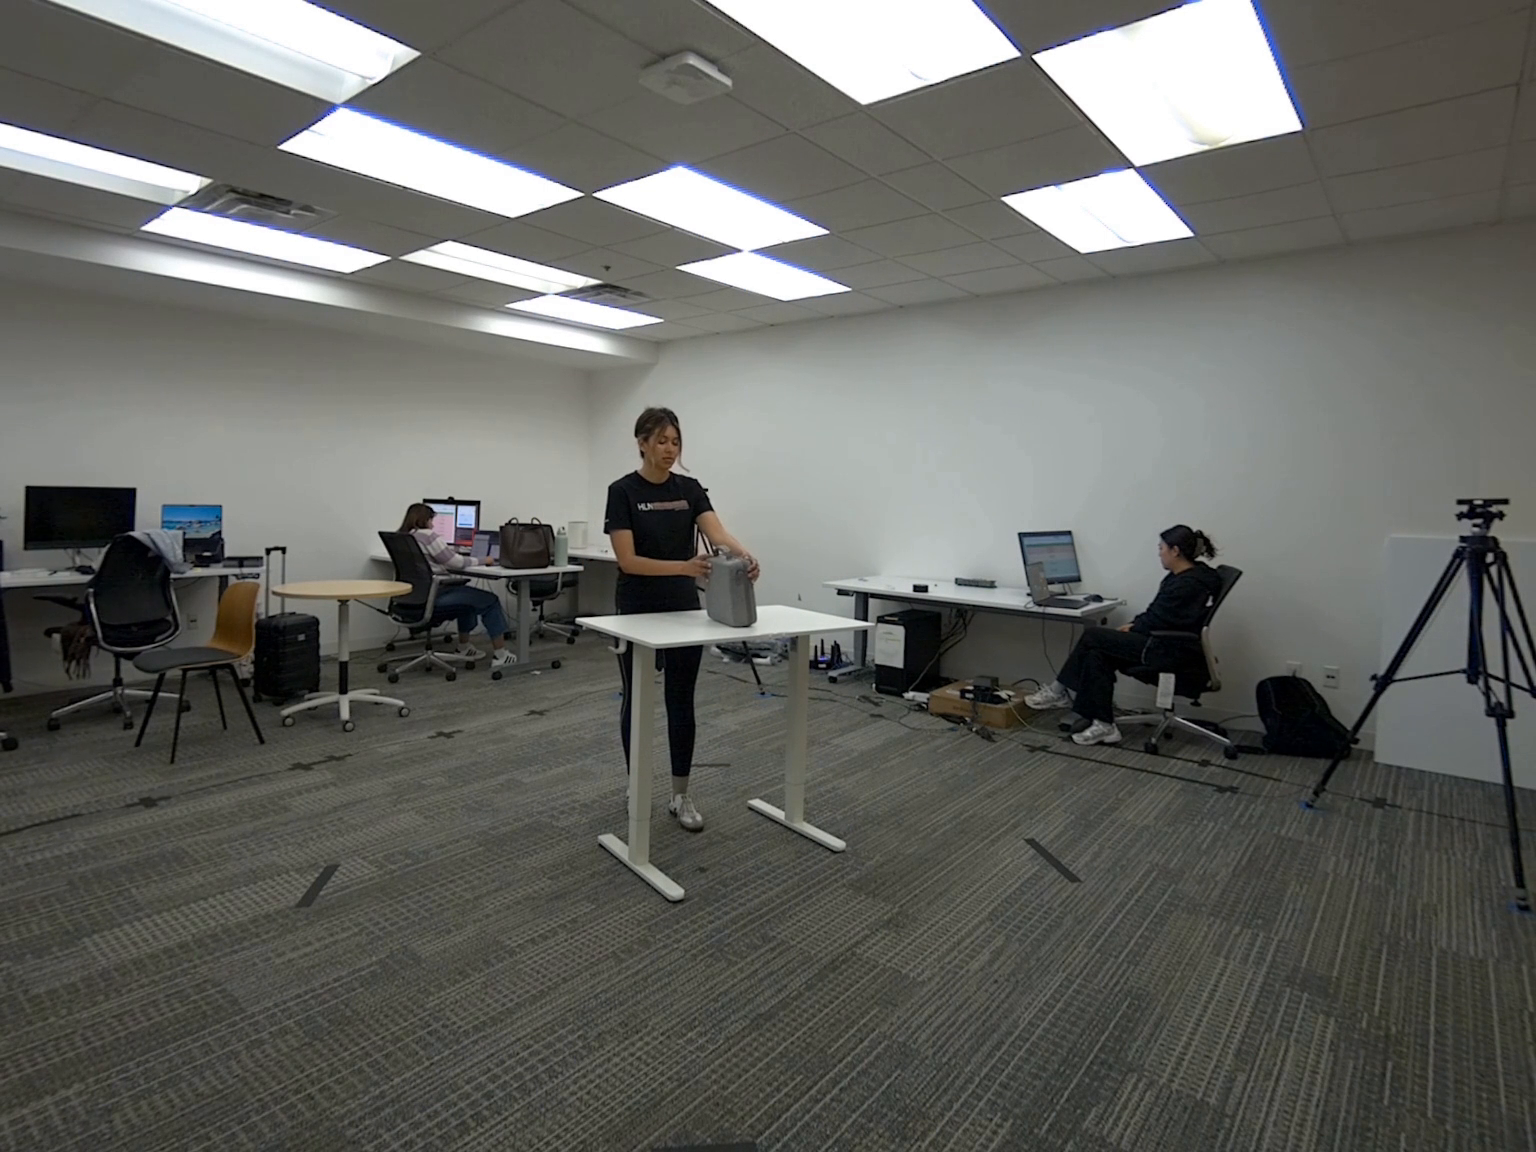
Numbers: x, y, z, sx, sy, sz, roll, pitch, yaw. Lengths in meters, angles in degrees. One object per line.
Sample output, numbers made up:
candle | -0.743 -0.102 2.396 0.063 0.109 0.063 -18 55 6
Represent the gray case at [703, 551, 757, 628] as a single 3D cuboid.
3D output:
gray case | -0.154 0.045 3.219 0.102 0.259 0.264 -4 7 -24
